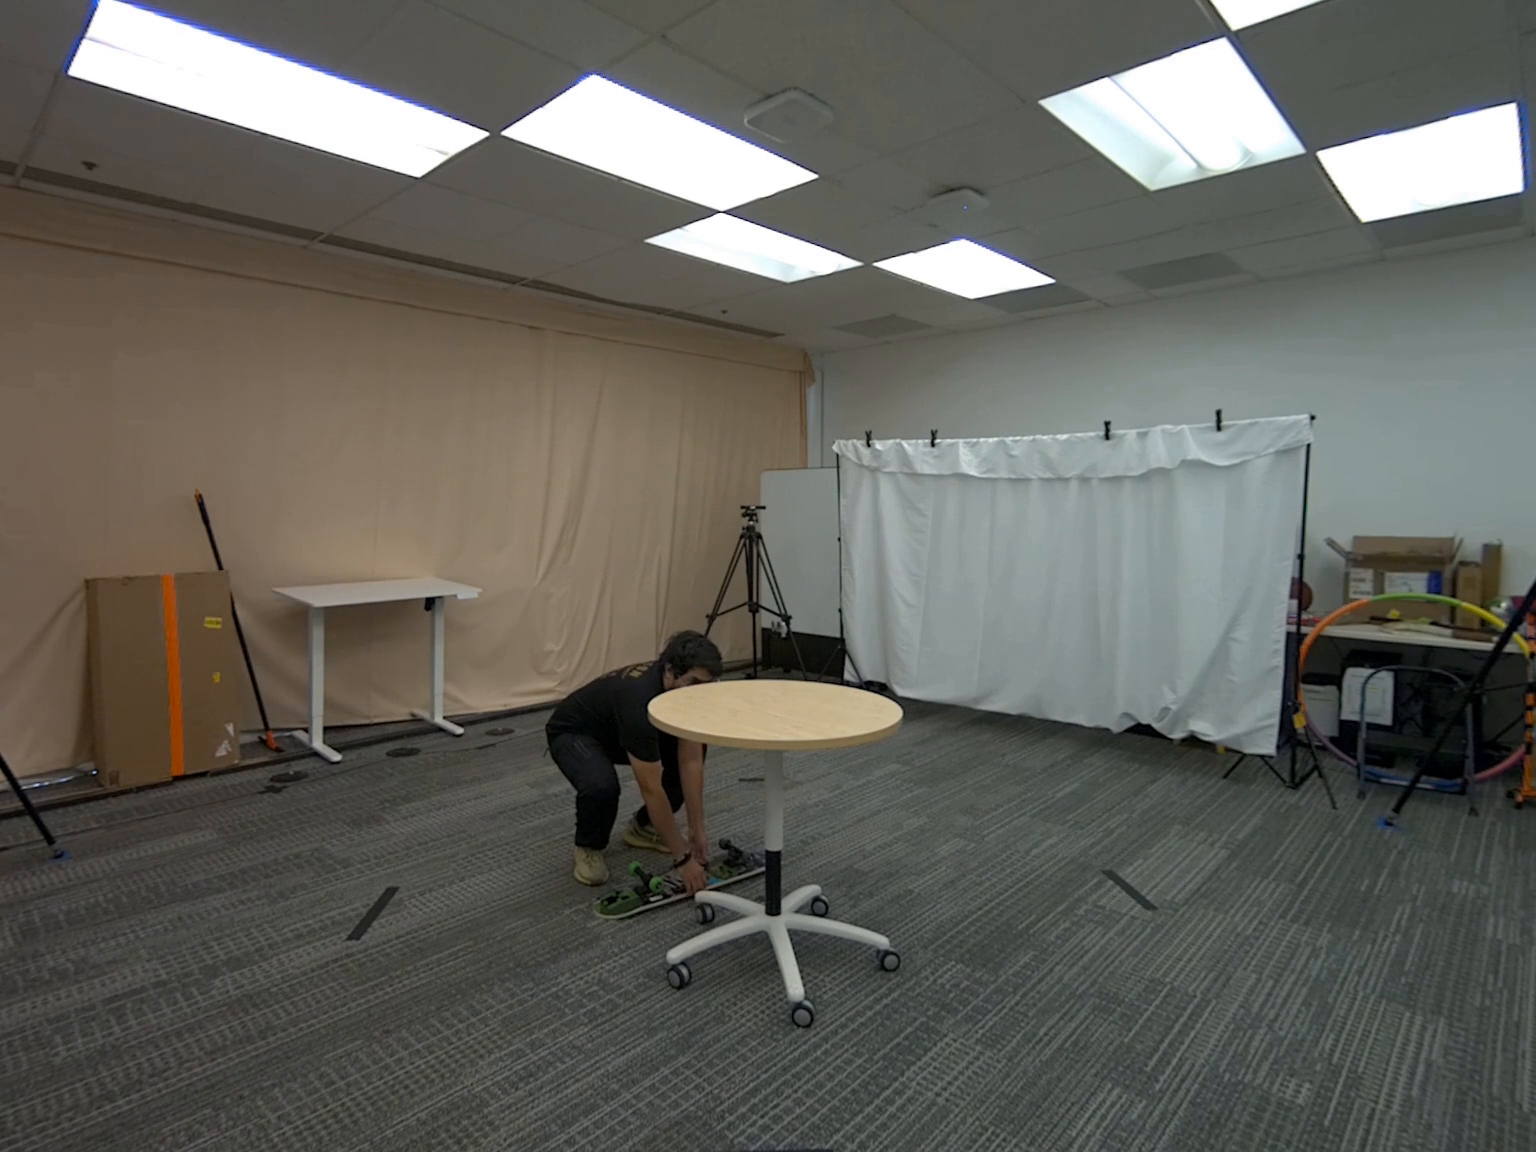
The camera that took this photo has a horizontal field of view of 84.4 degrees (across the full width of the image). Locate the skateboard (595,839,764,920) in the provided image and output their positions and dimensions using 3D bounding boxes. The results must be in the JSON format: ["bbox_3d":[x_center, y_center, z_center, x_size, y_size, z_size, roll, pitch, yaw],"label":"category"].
[{"bbox_3d":[-0.278,1.084,3.089,0.762,0.110,0.199,-4,3,-36],"label":"skateboard"}]
